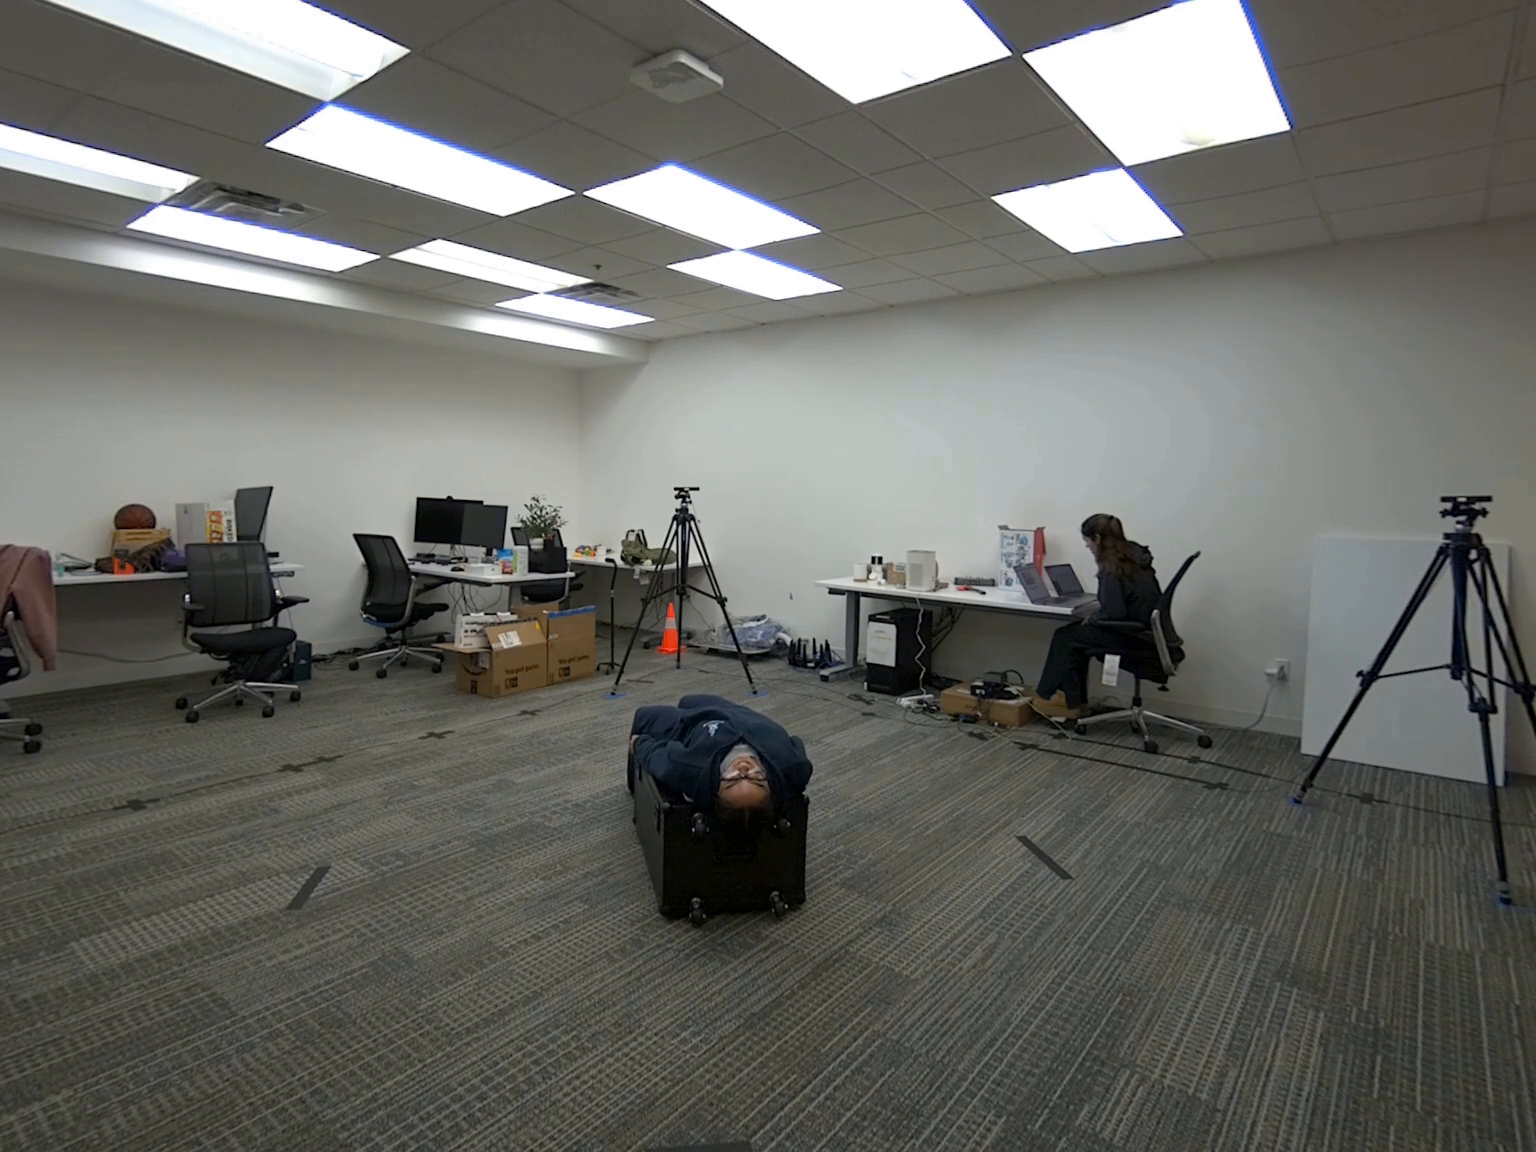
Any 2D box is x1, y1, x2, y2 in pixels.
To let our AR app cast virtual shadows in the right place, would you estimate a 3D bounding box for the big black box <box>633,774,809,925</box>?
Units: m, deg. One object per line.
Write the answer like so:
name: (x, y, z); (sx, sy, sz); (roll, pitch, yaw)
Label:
big black box: (-0.209, 0.877, 3.090); (0.513, 0.395, 0.878); (1, 5, -16)
